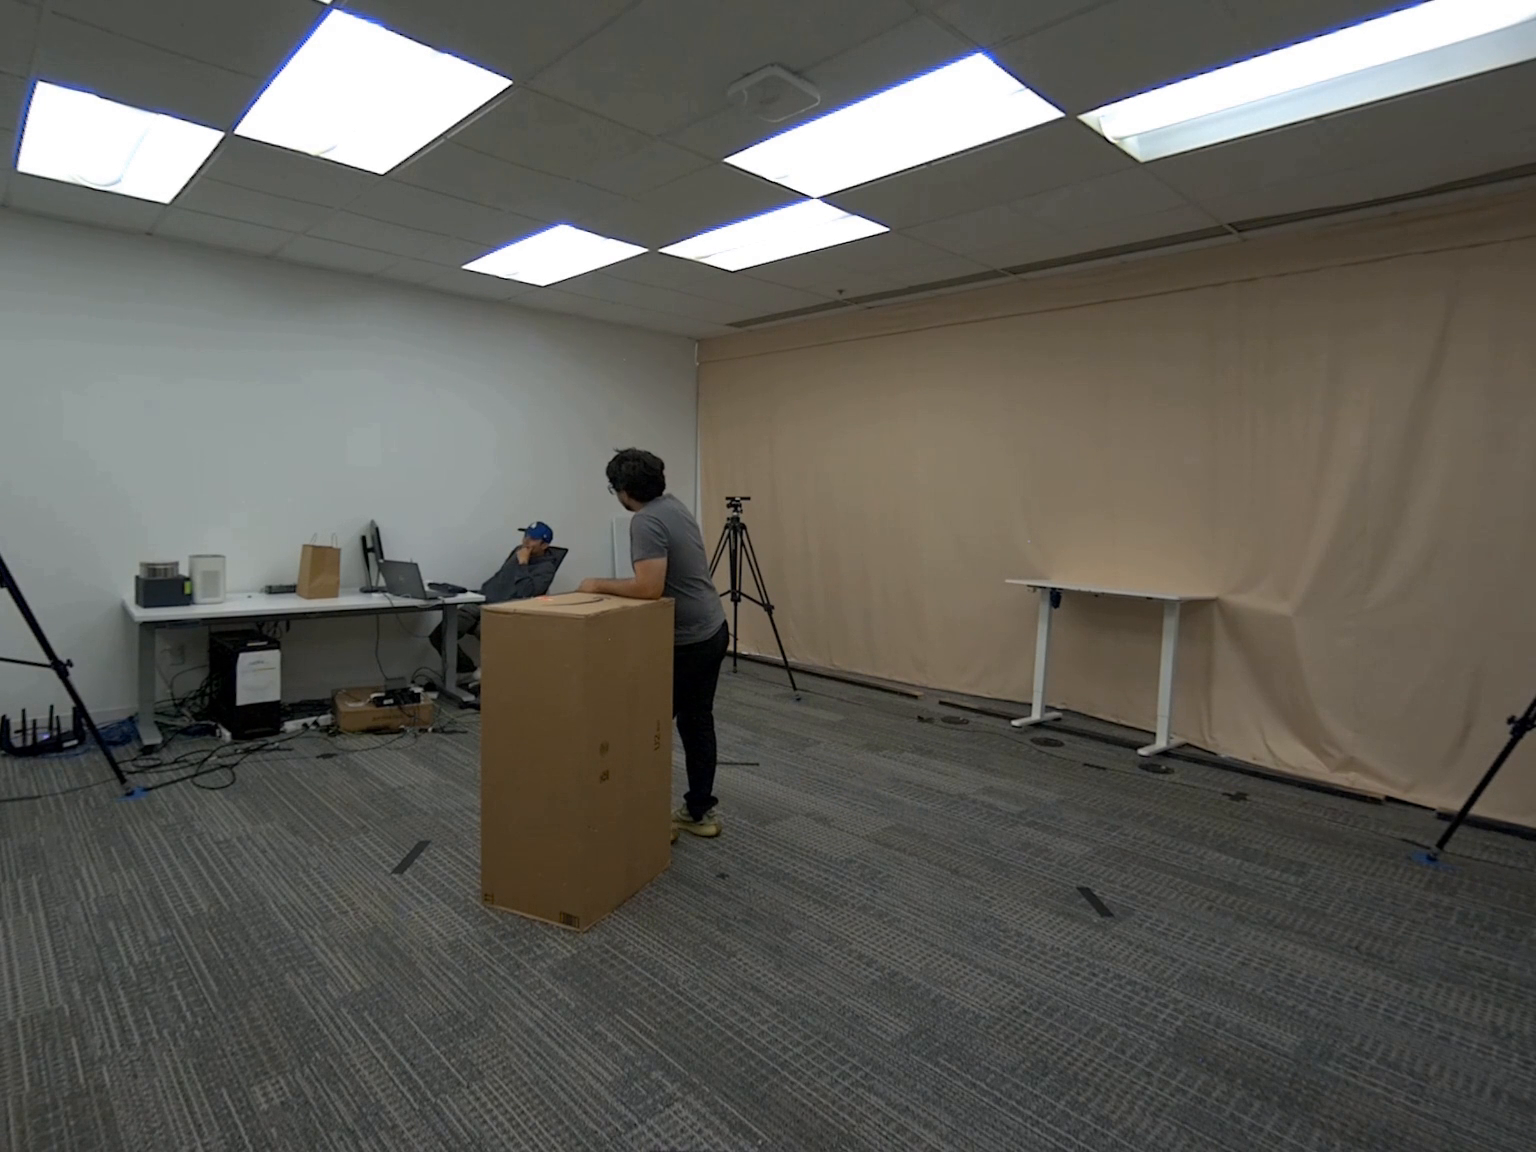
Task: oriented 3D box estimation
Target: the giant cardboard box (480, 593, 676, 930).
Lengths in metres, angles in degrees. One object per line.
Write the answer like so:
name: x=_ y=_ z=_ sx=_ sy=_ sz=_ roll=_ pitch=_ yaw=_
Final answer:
giant cardboard box: x=-0.677 y=0.599 z=2.985 sx=0.434 sy=1.023 sz=0.568 roll=3 pitch=4 yaw=25
